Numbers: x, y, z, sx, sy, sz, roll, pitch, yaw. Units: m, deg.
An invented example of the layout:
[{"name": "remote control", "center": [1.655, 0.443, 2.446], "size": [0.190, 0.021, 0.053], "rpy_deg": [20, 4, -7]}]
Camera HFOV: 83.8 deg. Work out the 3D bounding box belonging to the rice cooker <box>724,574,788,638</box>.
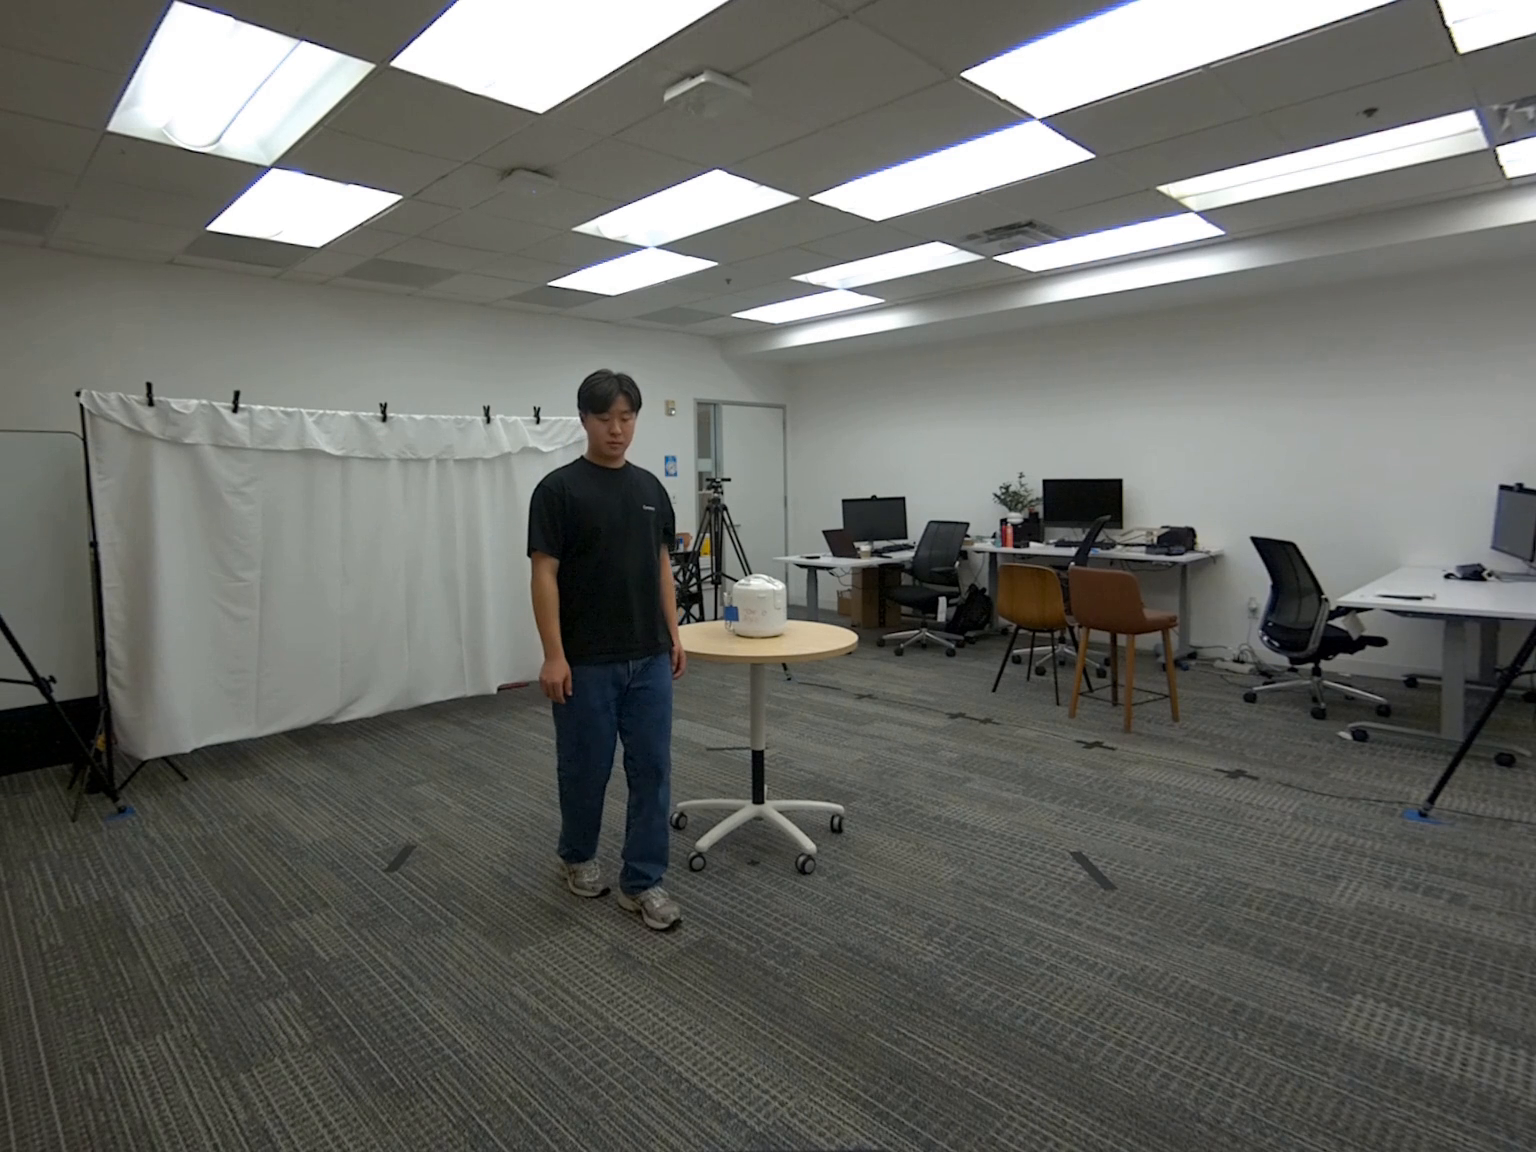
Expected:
[{"name": "rice cooker", "center": [-0.032, 0.107, 3.290], "size": [0.212, 0.231, 0.227], "rpy_deg": [-6, 8, -43]}]
